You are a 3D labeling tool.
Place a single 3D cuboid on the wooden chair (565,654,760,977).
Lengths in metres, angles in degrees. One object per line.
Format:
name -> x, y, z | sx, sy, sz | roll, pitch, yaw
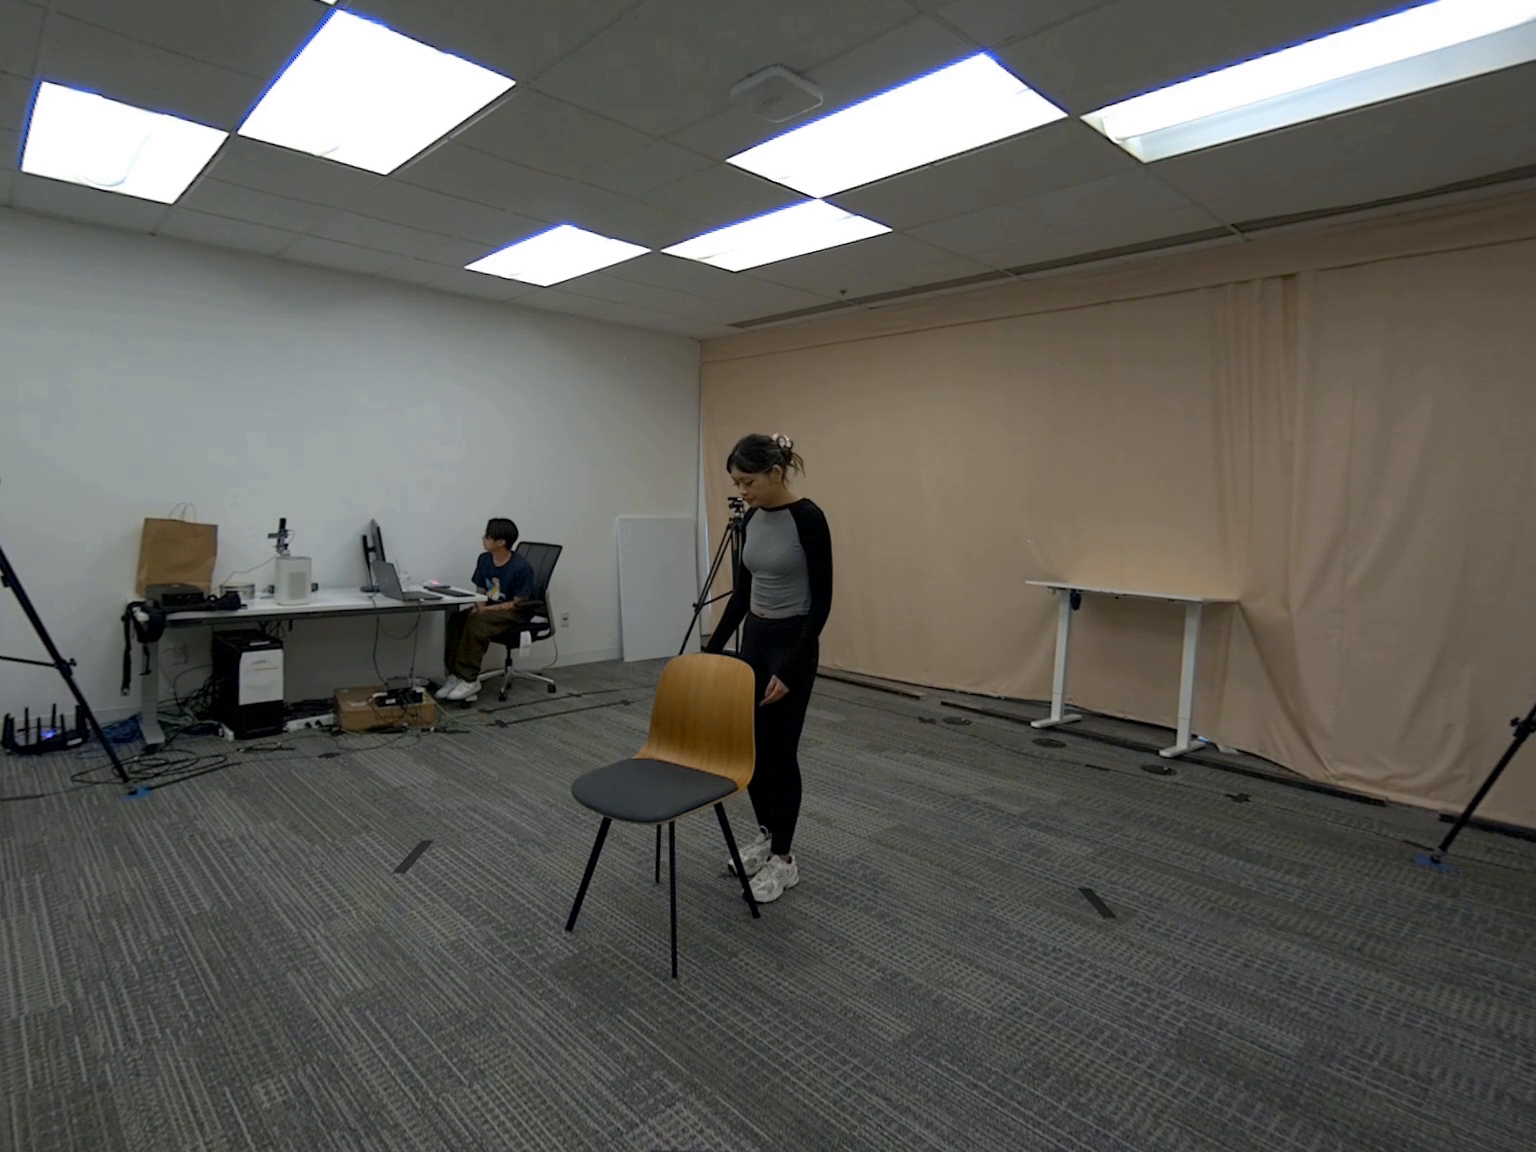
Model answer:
wooden chair -> -0.330, 0.712, 2.701 | 0.489, 0.878, 0.511 | 4, -1, 34
